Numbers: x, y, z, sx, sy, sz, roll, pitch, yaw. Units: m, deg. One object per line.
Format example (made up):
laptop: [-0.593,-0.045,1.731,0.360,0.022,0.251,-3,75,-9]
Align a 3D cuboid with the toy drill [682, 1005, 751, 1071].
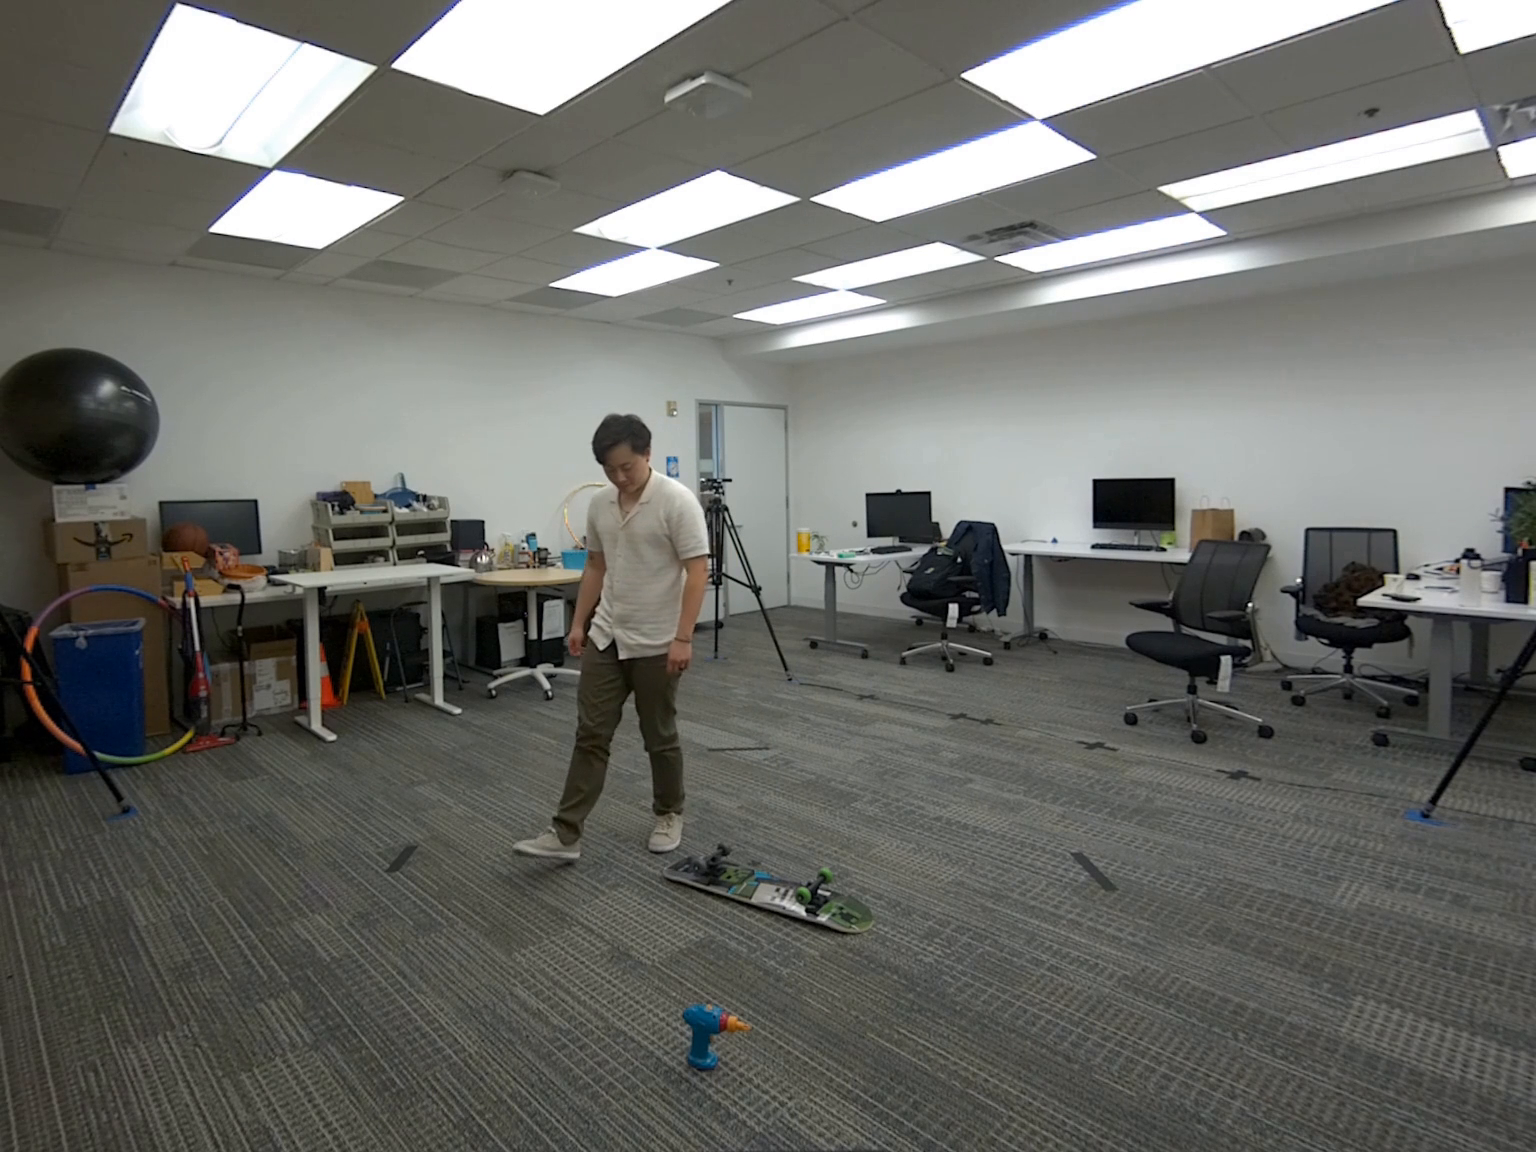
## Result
toy drill: [-0.110,1.095,2.043,0.171,0.146,0.060,0,1,9]
